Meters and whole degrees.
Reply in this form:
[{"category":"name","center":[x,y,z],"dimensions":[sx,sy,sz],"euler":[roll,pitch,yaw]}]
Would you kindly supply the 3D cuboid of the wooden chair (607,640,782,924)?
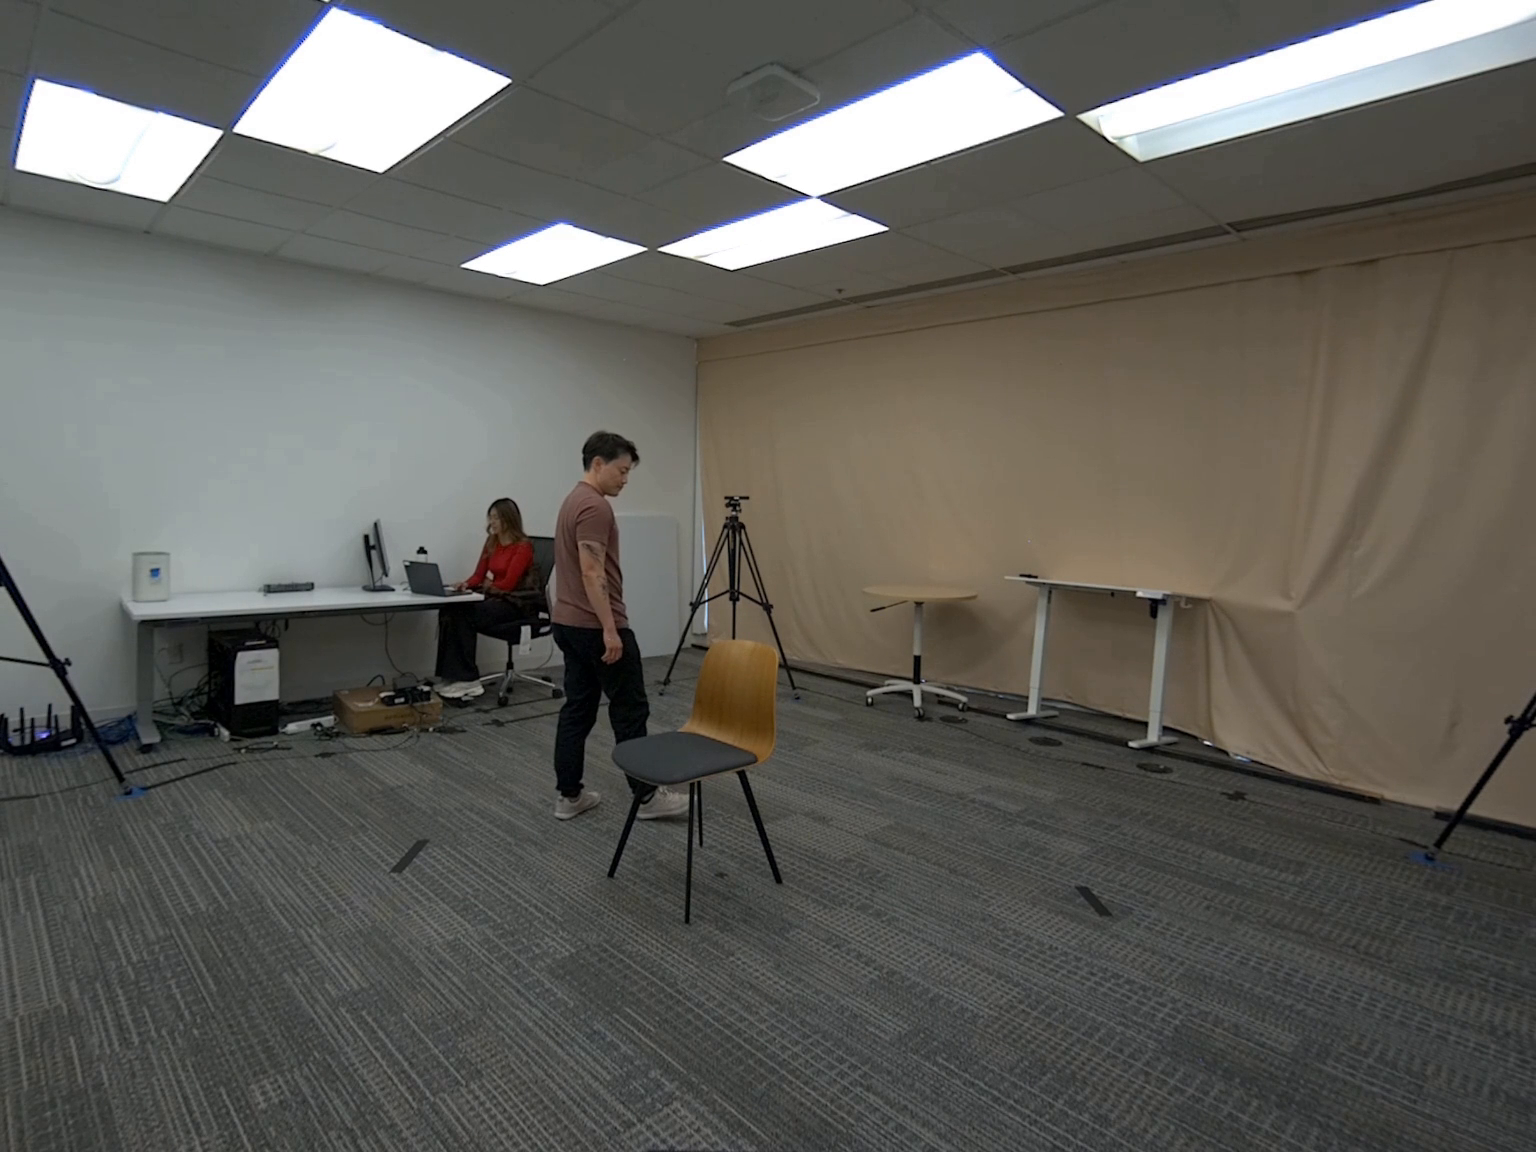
[{"category":"wooden chair","center":[-0.265,0.683,3.015],"dimensions":[0.510,0.877,0.490],"euler":[3,1,-45]}]
